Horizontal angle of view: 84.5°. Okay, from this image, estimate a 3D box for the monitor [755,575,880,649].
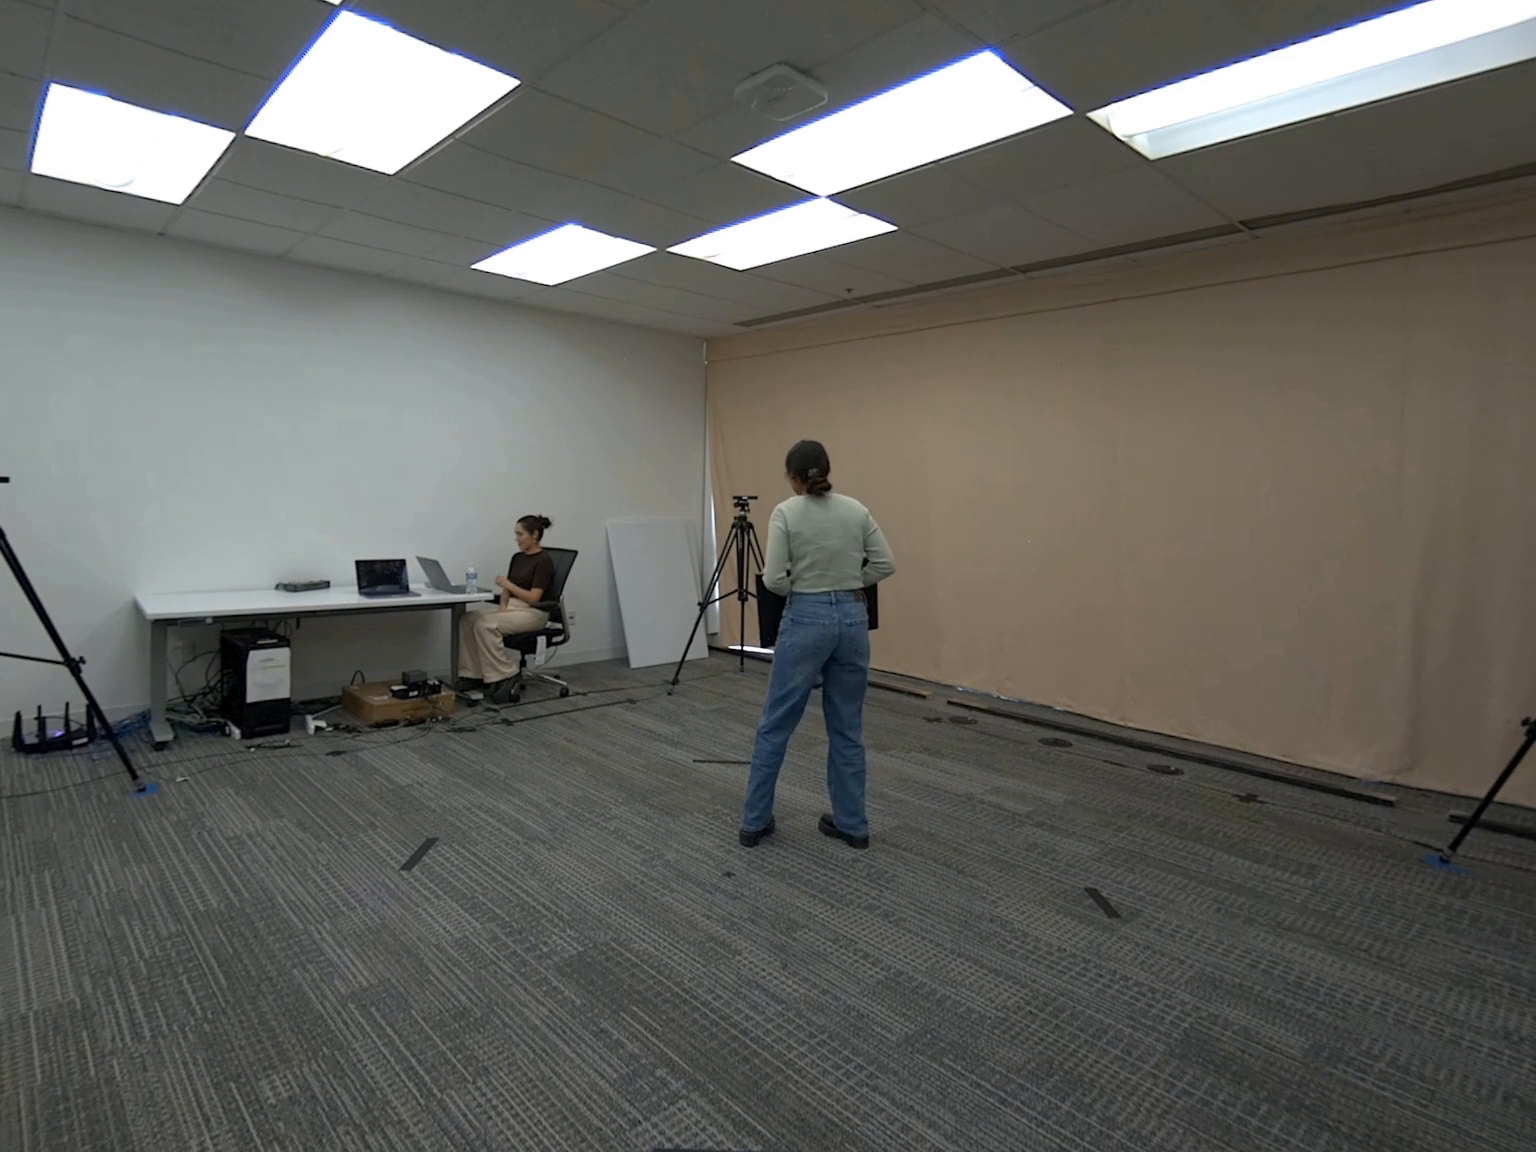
[{"bbox_3d":[0.230,0.197,3.618,0.527,0.515,0.176,-8,2,-7],"label":"monitor"}]
